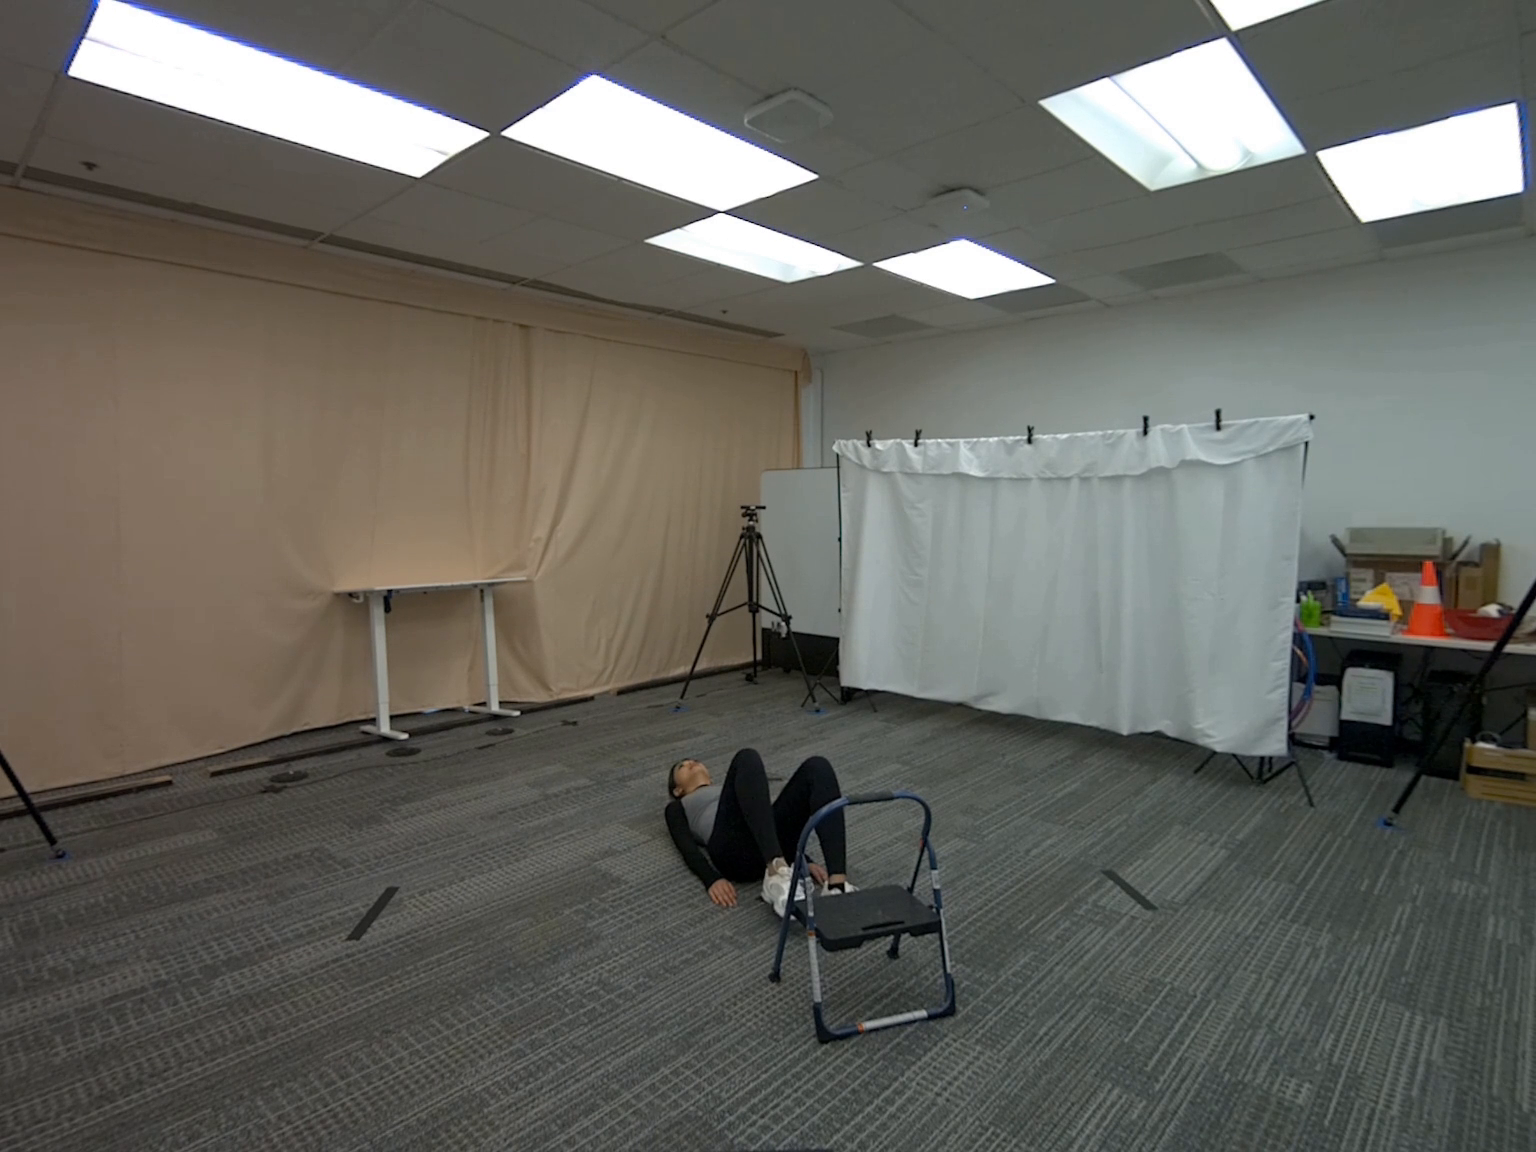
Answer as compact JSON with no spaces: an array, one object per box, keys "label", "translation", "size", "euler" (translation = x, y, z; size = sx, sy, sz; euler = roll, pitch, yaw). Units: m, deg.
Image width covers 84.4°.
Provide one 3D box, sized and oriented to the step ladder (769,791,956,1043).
[{"label":"step ladder","translation":[0.271,0.894,2.381],"size":[0.422,0.605,0.357],"euler":[-1,3,-21]}]
